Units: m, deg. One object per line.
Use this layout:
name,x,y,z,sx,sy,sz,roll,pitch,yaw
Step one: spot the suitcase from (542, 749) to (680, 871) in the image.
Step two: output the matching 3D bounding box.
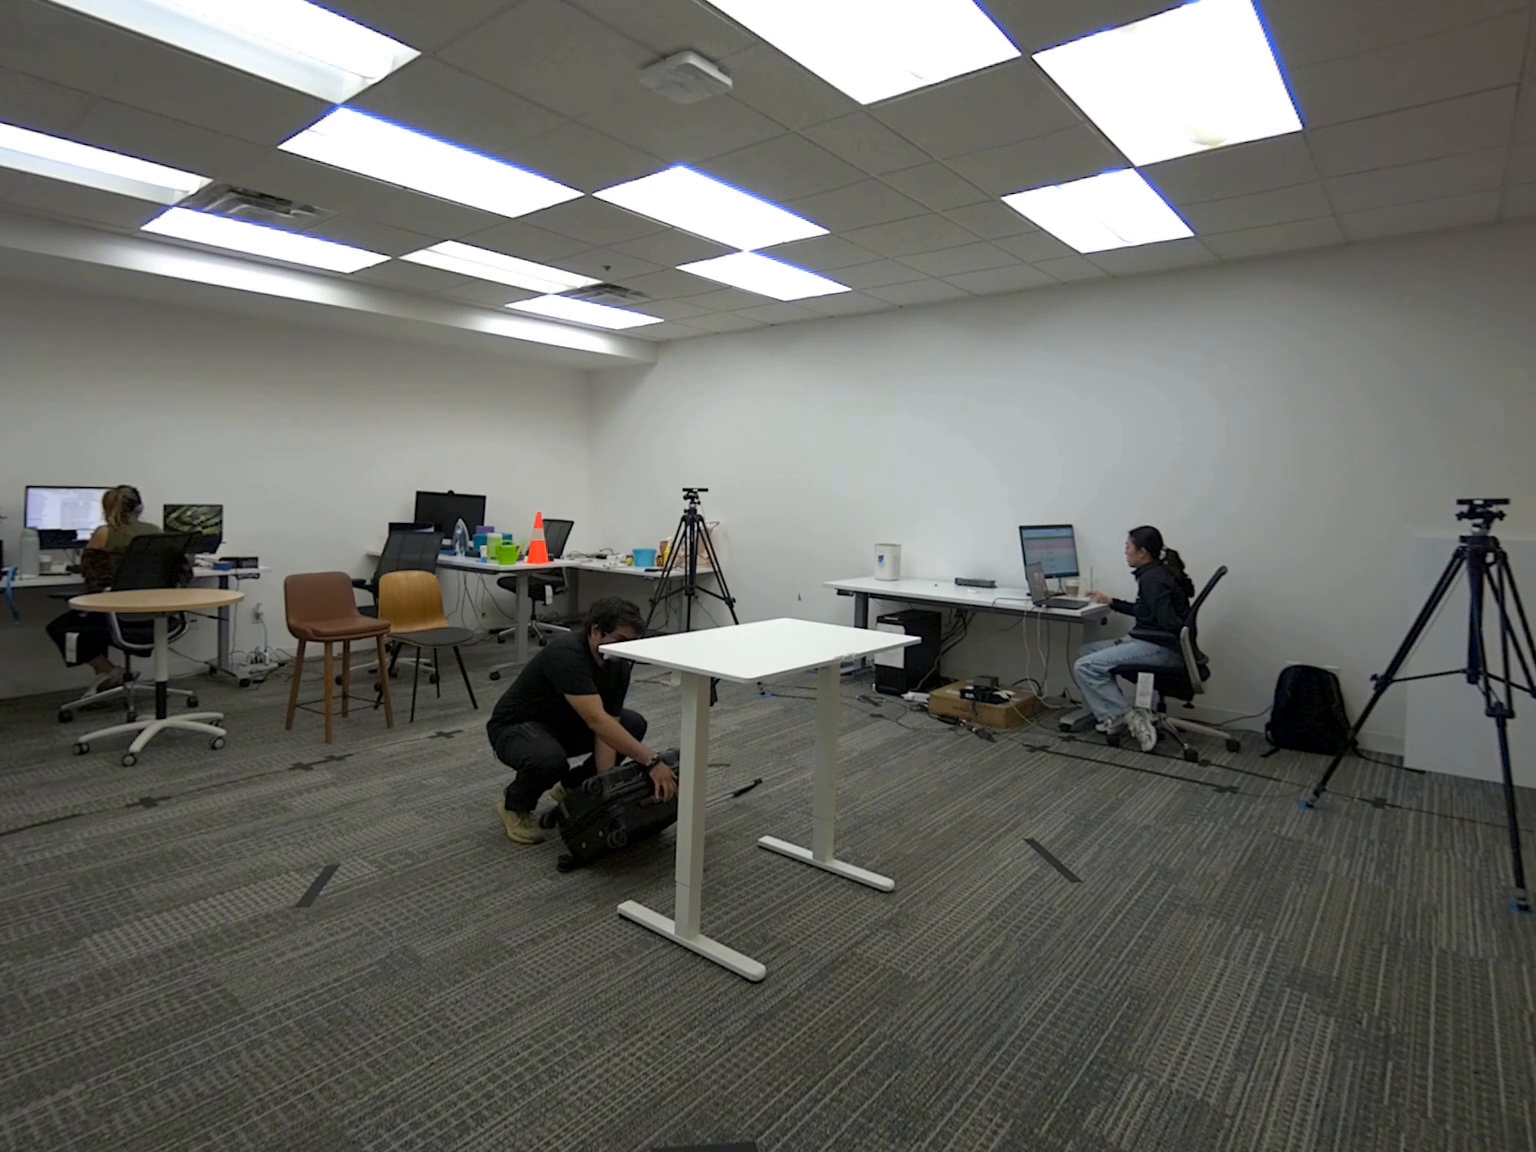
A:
suitcase,-0.423,0.851,3.384,0.386,0.263,0.952,-39,-17,32
